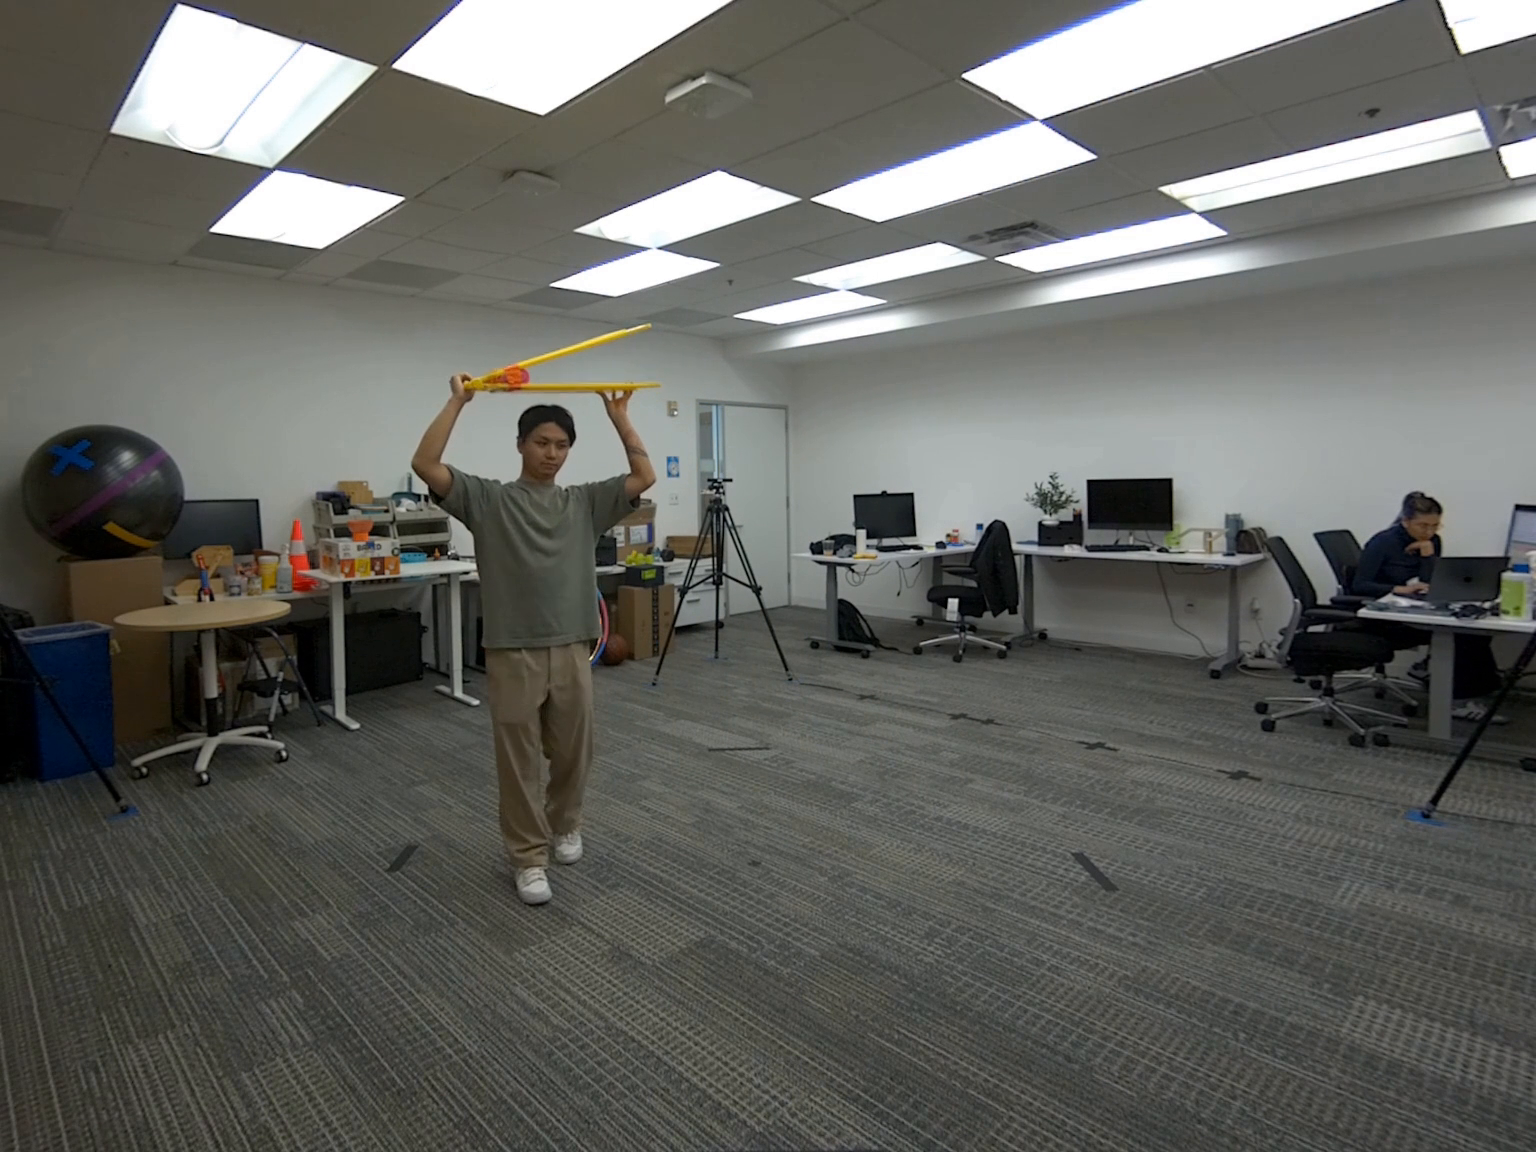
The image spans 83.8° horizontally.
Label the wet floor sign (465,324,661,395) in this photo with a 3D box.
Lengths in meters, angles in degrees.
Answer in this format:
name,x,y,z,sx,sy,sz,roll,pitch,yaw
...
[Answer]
name,x,y,z,sx,sy,sz,roll,pitch,yaw
wet floor sign,-0.733,-0.698,2.940,0.635,0.286,0.291,-15,15,-28
